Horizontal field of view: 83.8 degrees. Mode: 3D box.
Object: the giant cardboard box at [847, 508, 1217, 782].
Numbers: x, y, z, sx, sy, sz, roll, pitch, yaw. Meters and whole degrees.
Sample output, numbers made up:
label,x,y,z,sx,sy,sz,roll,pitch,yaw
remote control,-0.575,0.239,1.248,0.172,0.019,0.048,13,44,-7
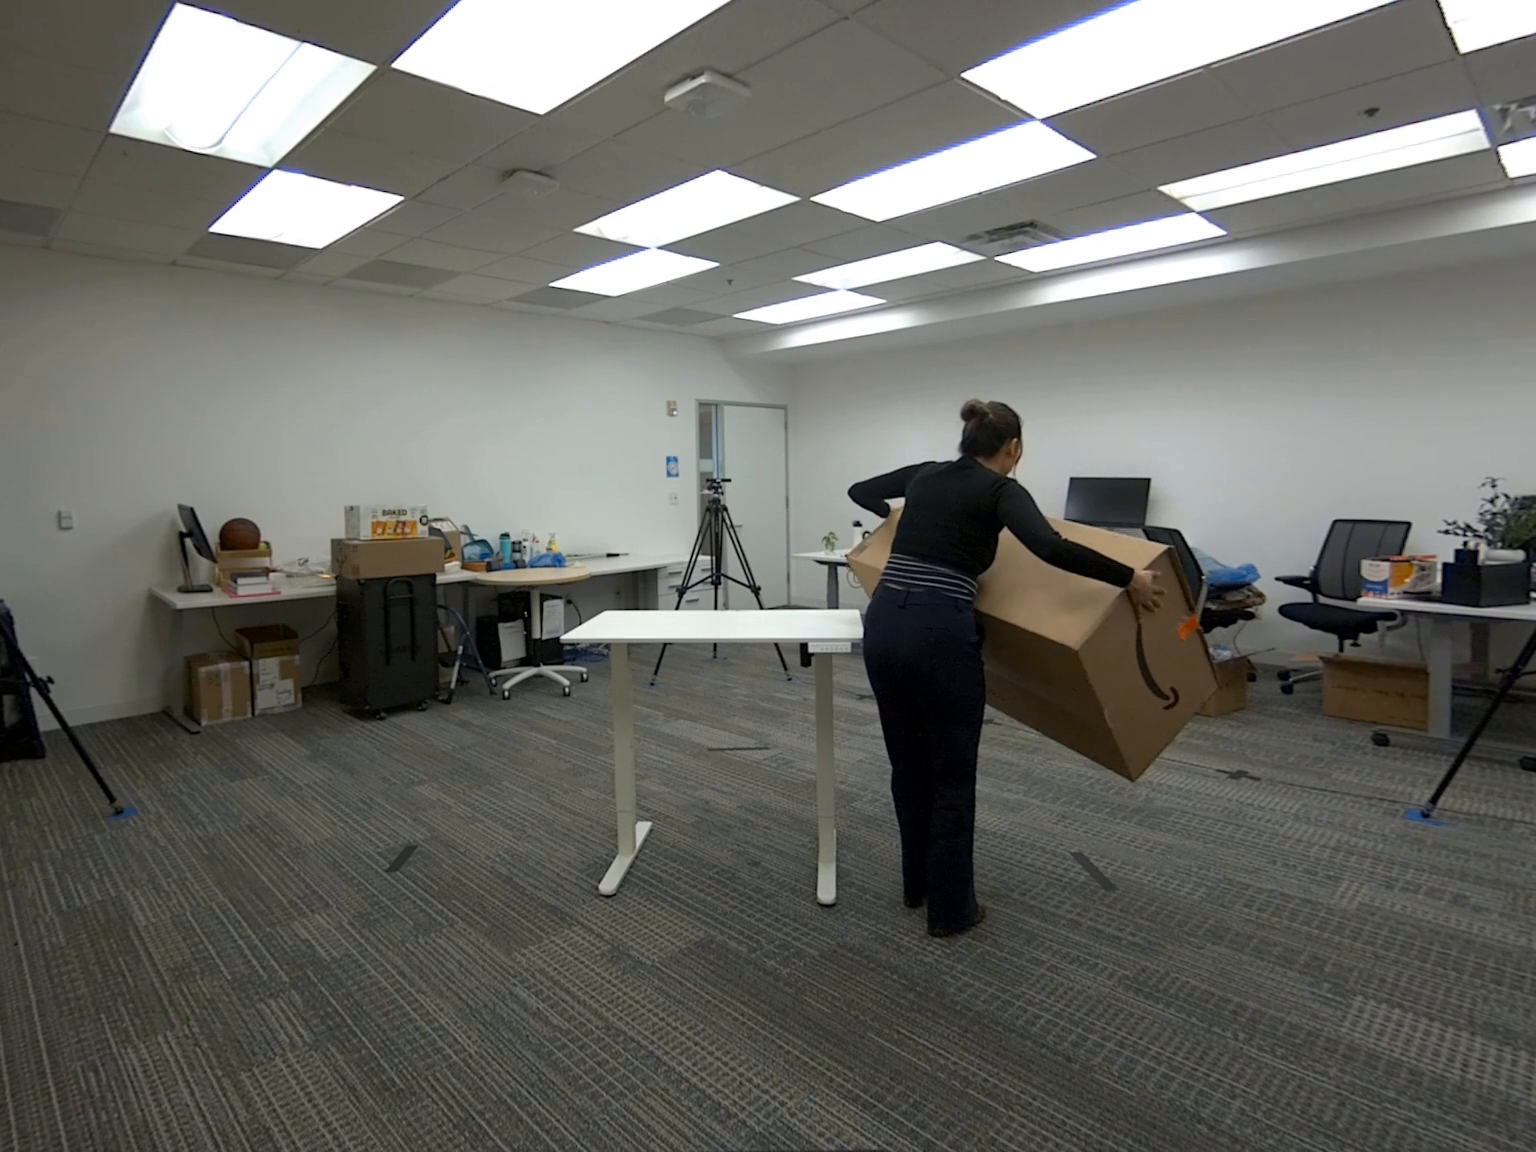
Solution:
label,x,y,z,sx,sy,sz,roll,pitch,yaw
giant cardboard box,0.823,0.132,2.844,0.425,0.559,1.061,-40,31,-15
